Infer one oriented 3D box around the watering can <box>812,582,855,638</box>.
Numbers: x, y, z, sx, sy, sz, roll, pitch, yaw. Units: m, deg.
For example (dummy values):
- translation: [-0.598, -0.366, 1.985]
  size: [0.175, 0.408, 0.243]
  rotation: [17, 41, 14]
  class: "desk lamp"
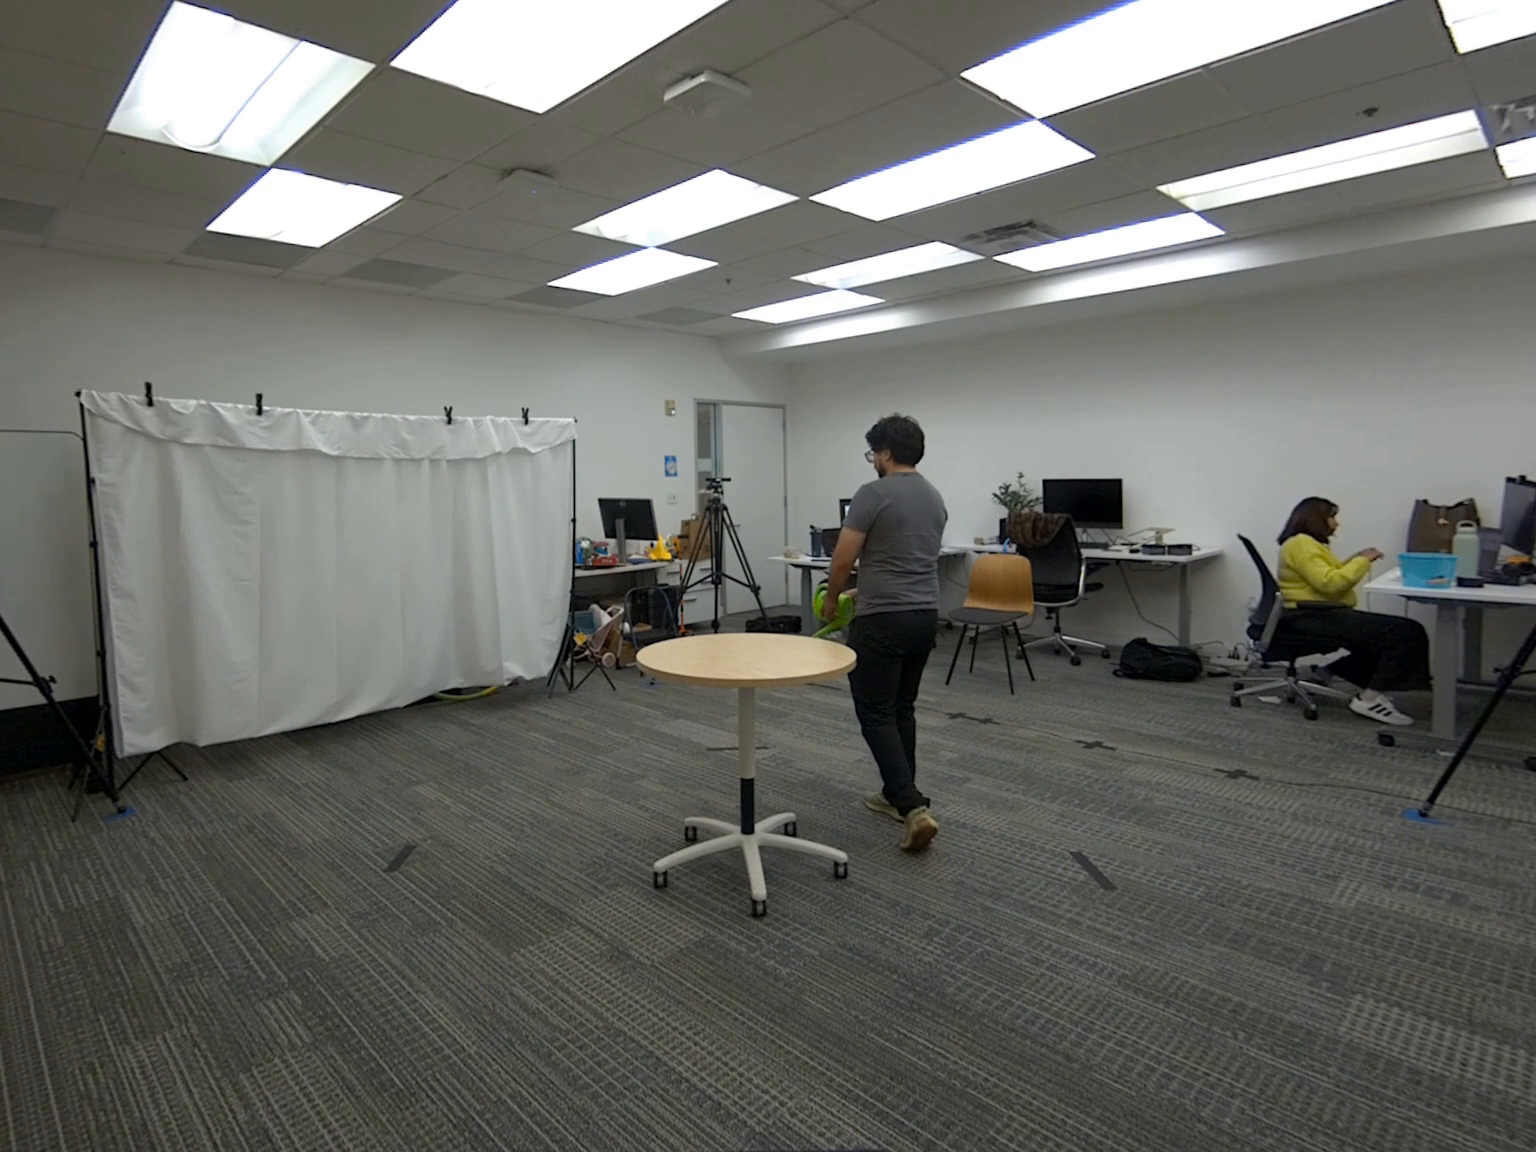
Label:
- translation: [0.282, 0.171, 3.695]
  size: [0.183, 0.274, 0.096]
  rotation: [11, 23, 41]
  class: "watering can"
